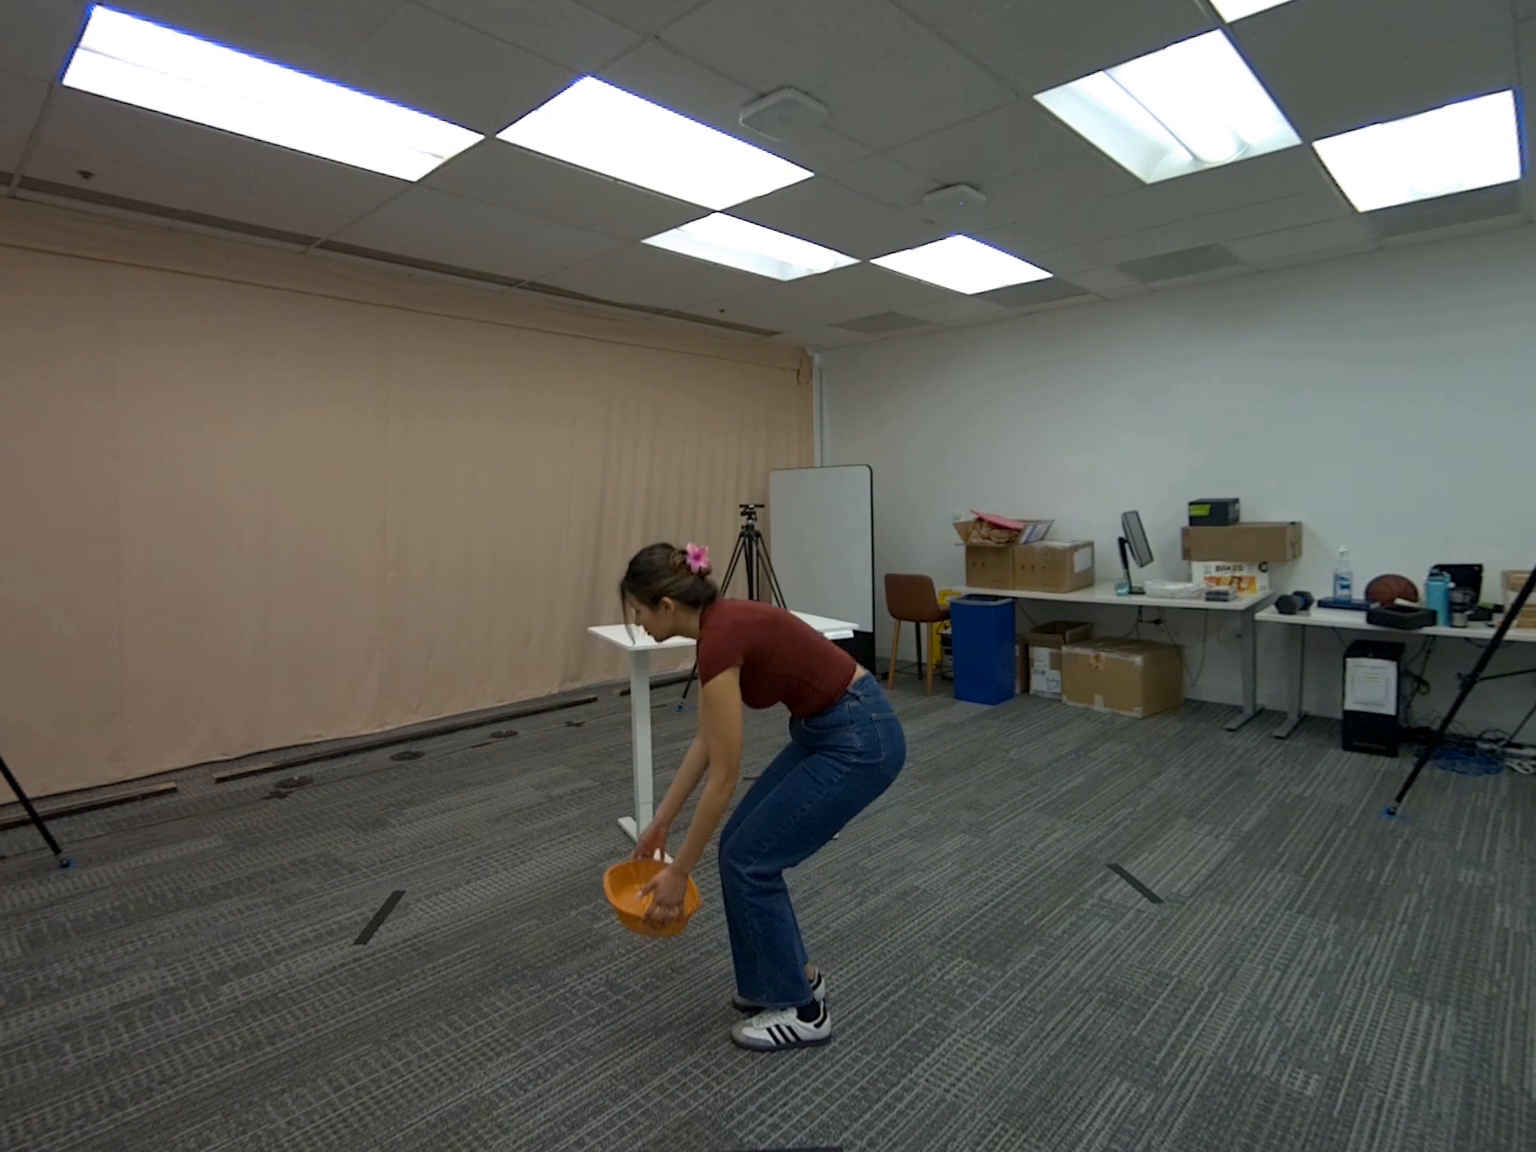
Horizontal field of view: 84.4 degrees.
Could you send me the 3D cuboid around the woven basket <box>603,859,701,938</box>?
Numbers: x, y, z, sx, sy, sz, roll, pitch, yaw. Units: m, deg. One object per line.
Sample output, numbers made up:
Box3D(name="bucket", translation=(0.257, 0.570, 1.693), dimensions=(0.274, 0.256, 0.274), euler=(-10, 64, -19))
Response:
Box3D(name="woven basket", translation=(-0.307, 0.859, 2.232), dimensions=(0.249, 0.073, 0.356), euler=(4, 3, -14))
